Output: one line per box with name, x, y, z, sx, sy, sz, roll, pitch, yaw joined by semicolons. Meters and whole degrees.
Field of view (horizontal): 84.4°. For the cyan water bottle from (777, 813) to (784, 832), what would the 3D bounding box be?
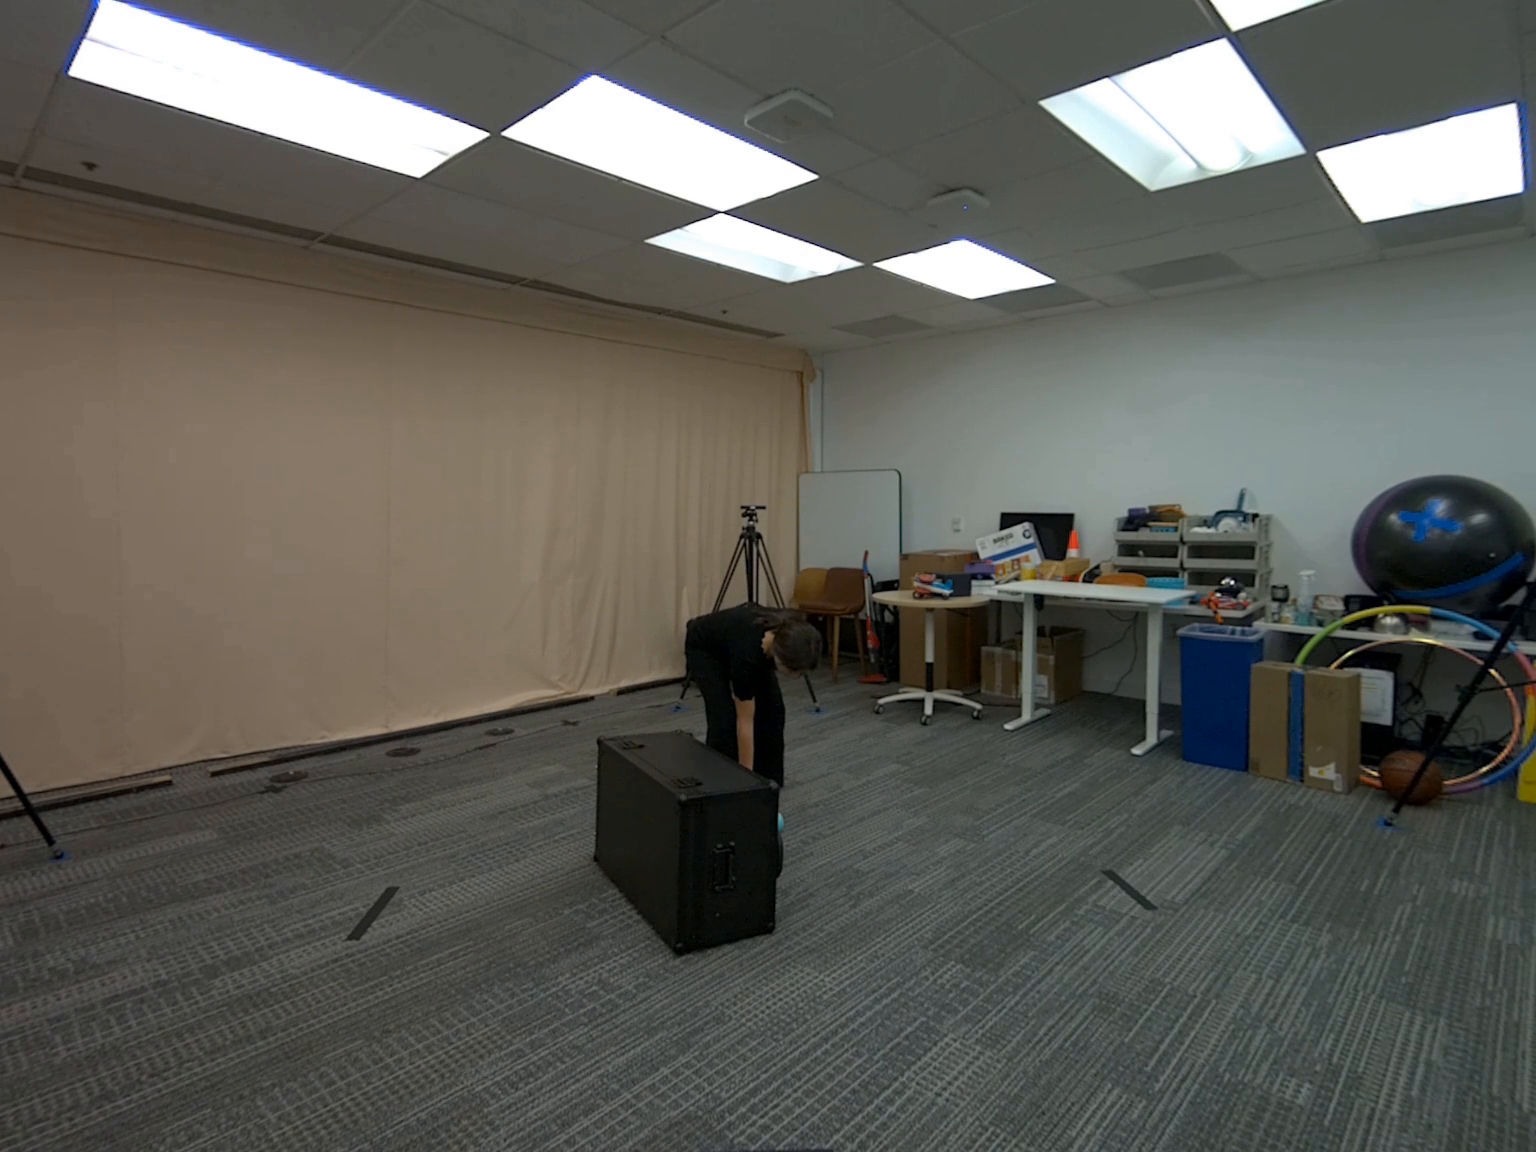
cyan water bottle;-0.067;1.044;3.510;0.275;0.092;0.095;-3;5;-34
